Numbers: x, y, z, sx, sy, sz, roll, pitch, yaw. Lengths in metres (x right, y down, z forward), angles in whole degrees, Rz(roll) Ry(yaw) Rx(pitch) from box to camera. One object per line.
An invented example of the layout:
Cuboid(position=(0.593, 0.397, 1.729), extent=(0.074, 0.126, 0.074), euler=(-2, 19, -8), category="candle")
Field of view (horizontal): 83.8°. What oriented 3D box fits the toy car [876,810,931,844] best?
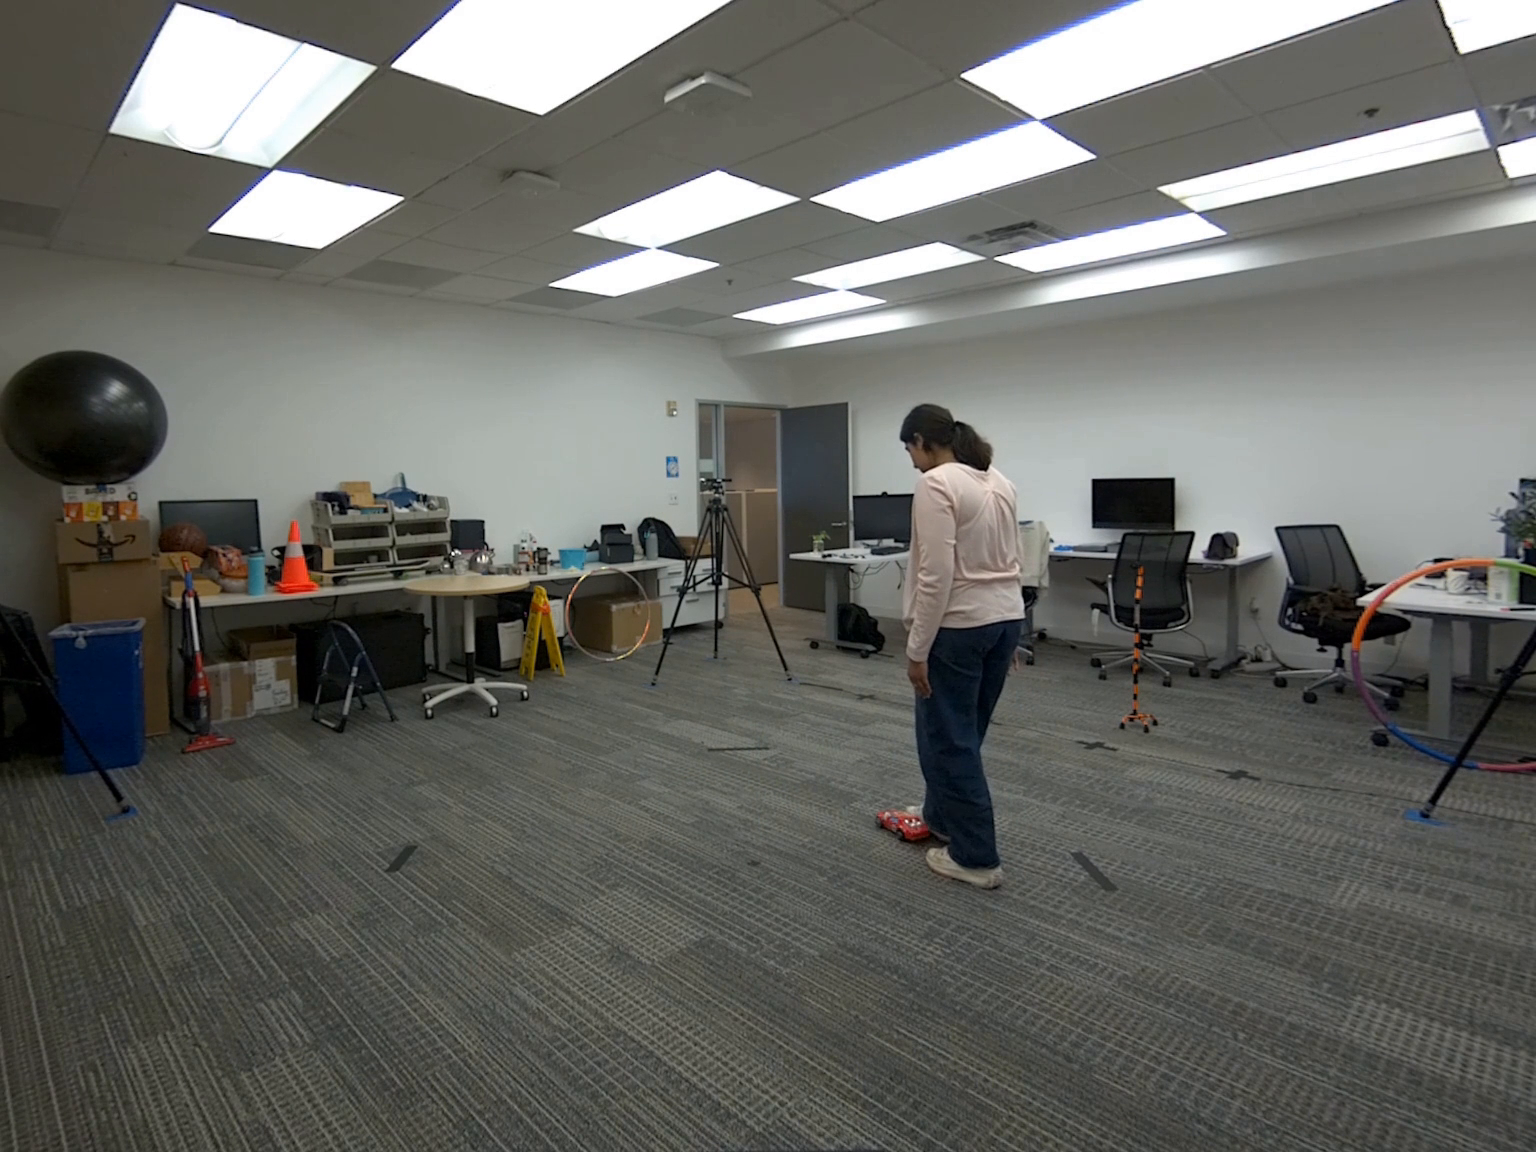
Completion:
Cuboid(position=(0.539, 0.977, 3.340), extent=(0.128, 0.084, 0.258), euler=(-4, -5, -25), category="toy car")
